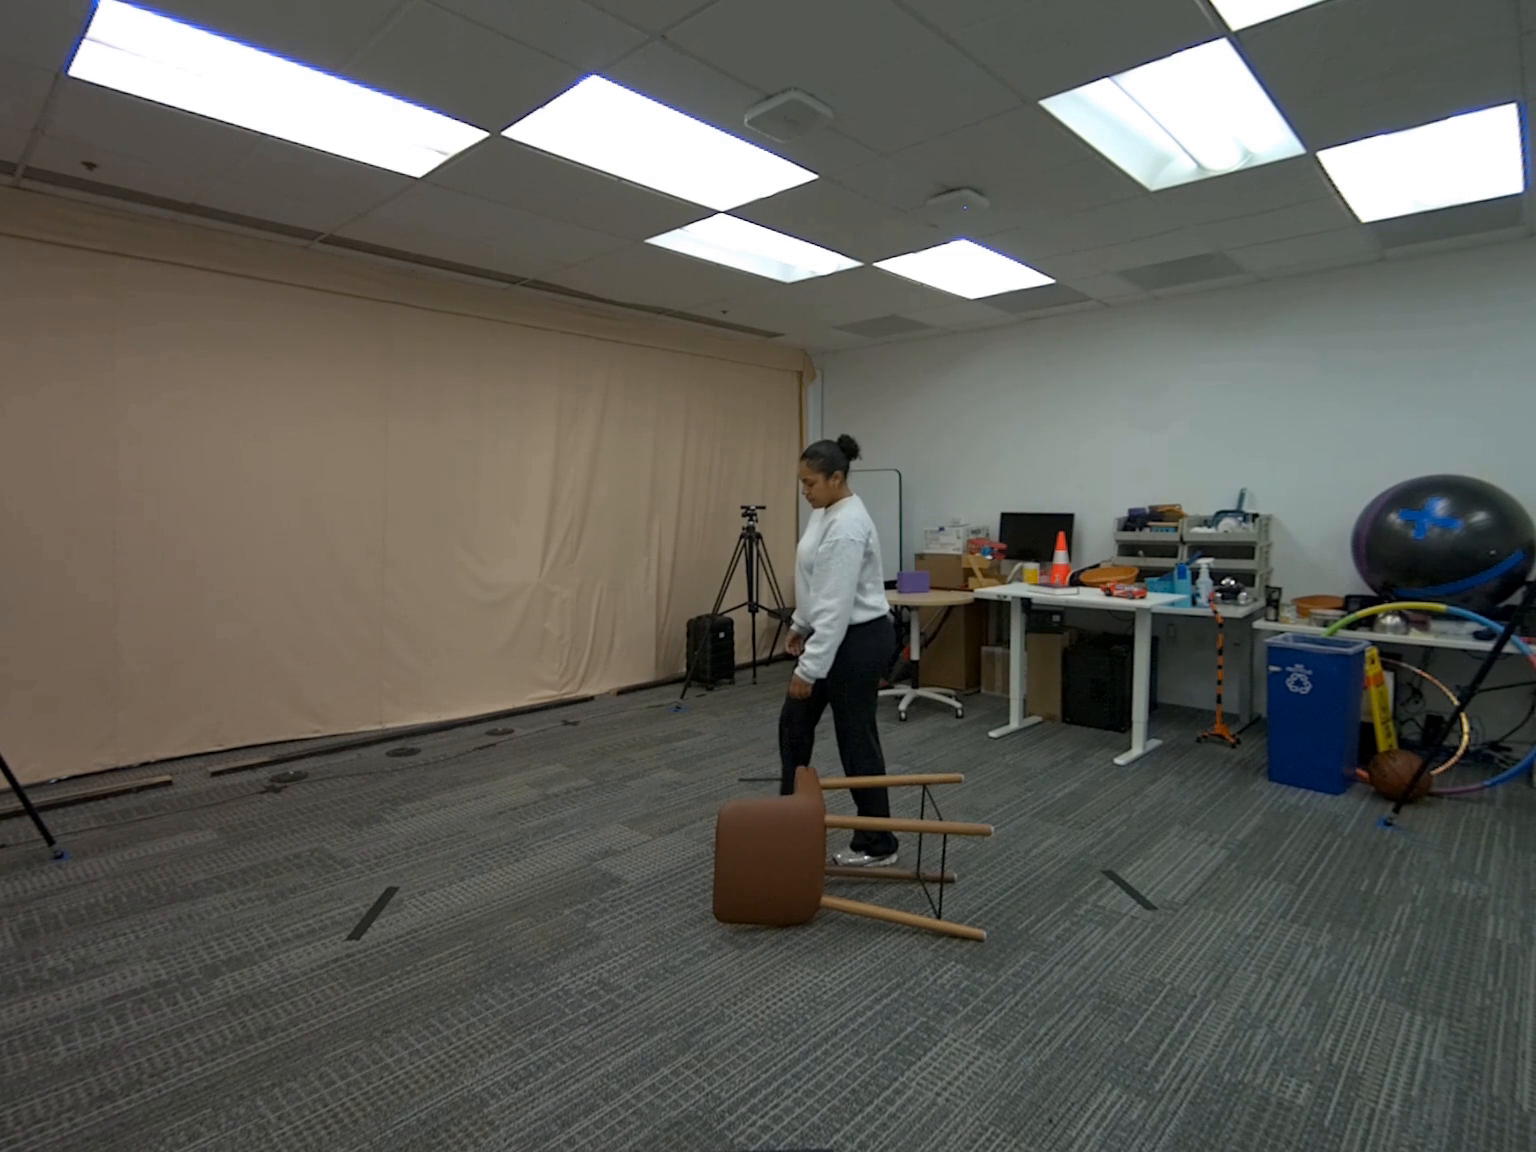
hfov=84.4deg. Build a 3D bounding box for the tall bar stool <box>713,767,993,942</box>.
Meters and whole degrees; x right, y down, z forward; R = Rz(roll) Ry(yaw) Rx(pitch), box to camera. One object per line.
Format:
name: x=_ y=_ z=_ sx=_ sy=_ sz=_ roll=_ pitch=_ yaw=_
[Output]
tall bar stool: x=0.271 y=0.935 z=2.909 sx=0.891 sy=0.455 sz=0.469 roll=2 pitch=6 yaw=1
